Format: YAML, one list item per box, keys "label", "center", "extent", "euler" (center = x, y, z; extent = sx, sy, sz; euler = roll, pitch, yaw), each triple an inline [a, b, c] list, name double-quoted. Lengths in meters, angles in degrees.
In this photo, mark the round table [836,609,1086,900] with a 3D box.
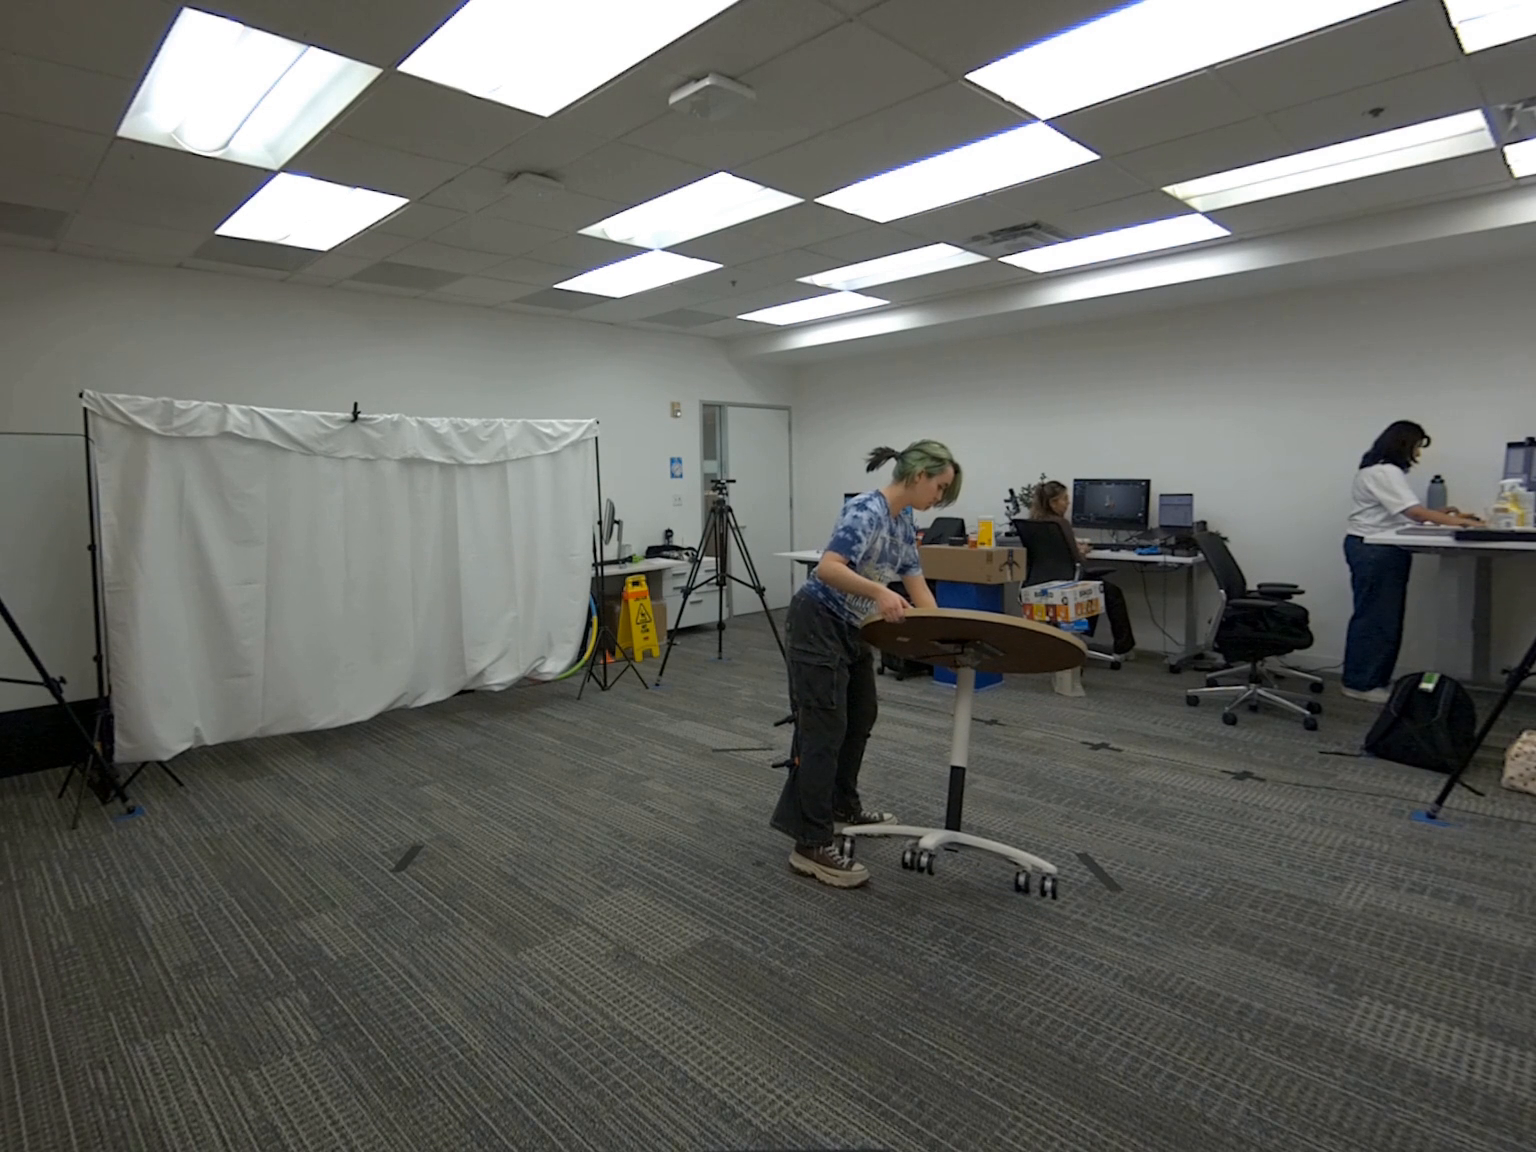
- label: "round table"
  center: [0.653, 0.604, 2.863]
  extent: [0.766, 0.804, 0.753]
  euler: [10, -17, 1]
